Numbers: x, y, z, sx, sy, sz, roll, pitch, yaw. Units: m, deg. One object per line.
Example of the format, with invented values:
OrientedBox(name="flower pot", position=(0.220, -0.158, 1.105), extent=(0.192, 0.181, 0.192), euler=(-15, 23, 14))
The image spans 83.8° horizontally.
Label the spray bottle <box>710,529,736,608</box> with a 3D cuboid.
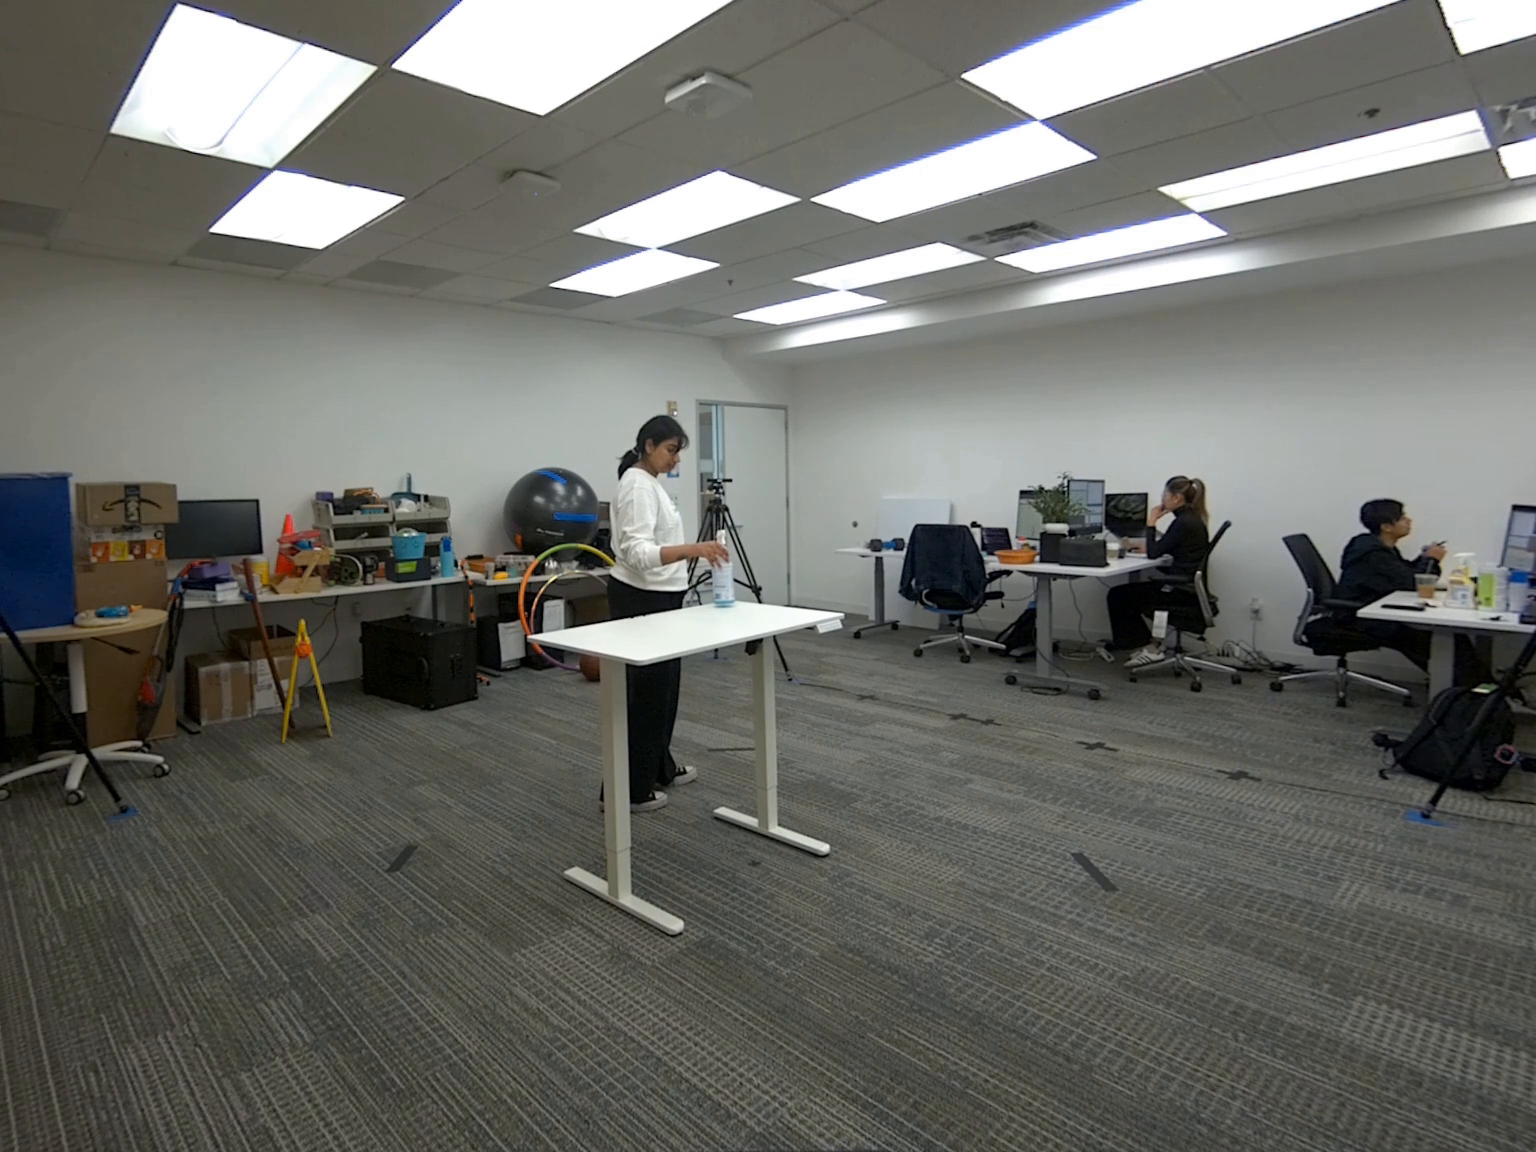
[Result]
OrientedBox(name="spray bottle", position=(-0.192, -0.034, 3.444), extent=(0.088, 0.297, 0.089), euler=(-4, 2, 8))
